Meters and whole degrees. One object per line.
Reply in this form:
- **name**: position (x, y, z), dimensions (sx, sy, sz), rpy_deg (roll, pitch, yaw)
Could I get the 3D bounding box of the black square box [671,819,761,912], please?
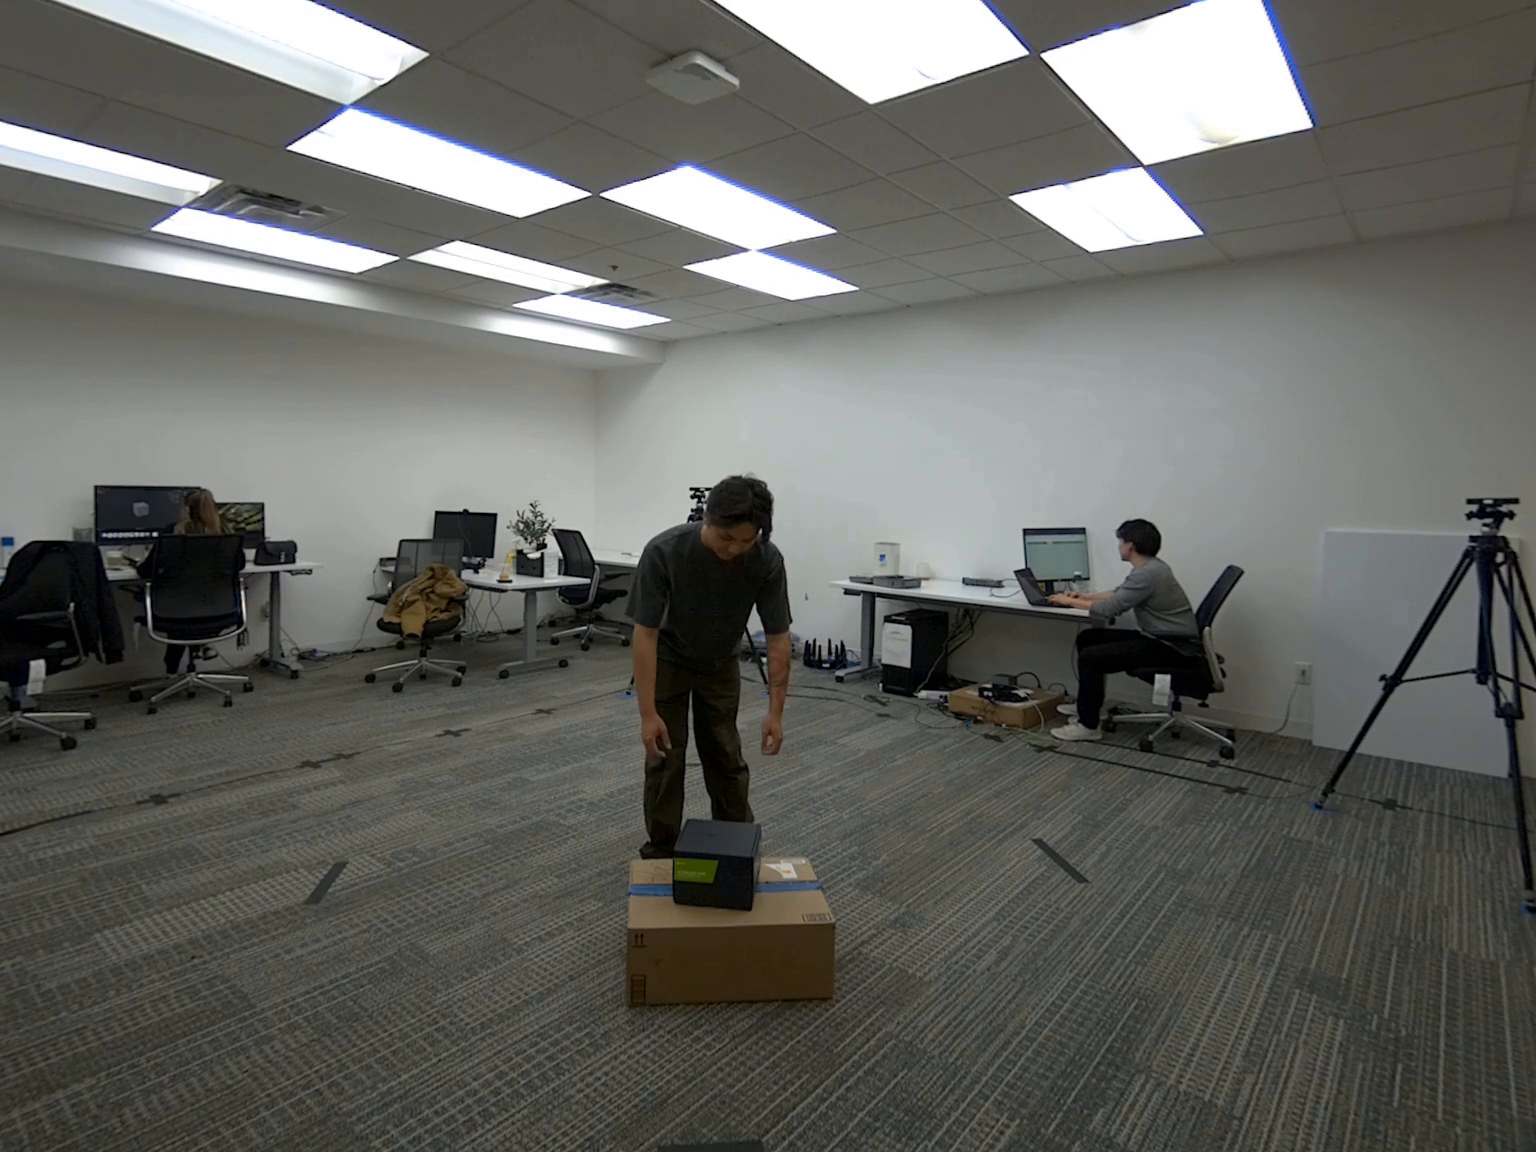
- **black square box**: position (-0.150, 0.828, 2.479), dimensions (0.230, 0.155, 0.217), rpy_deg (1, 7, 6)
